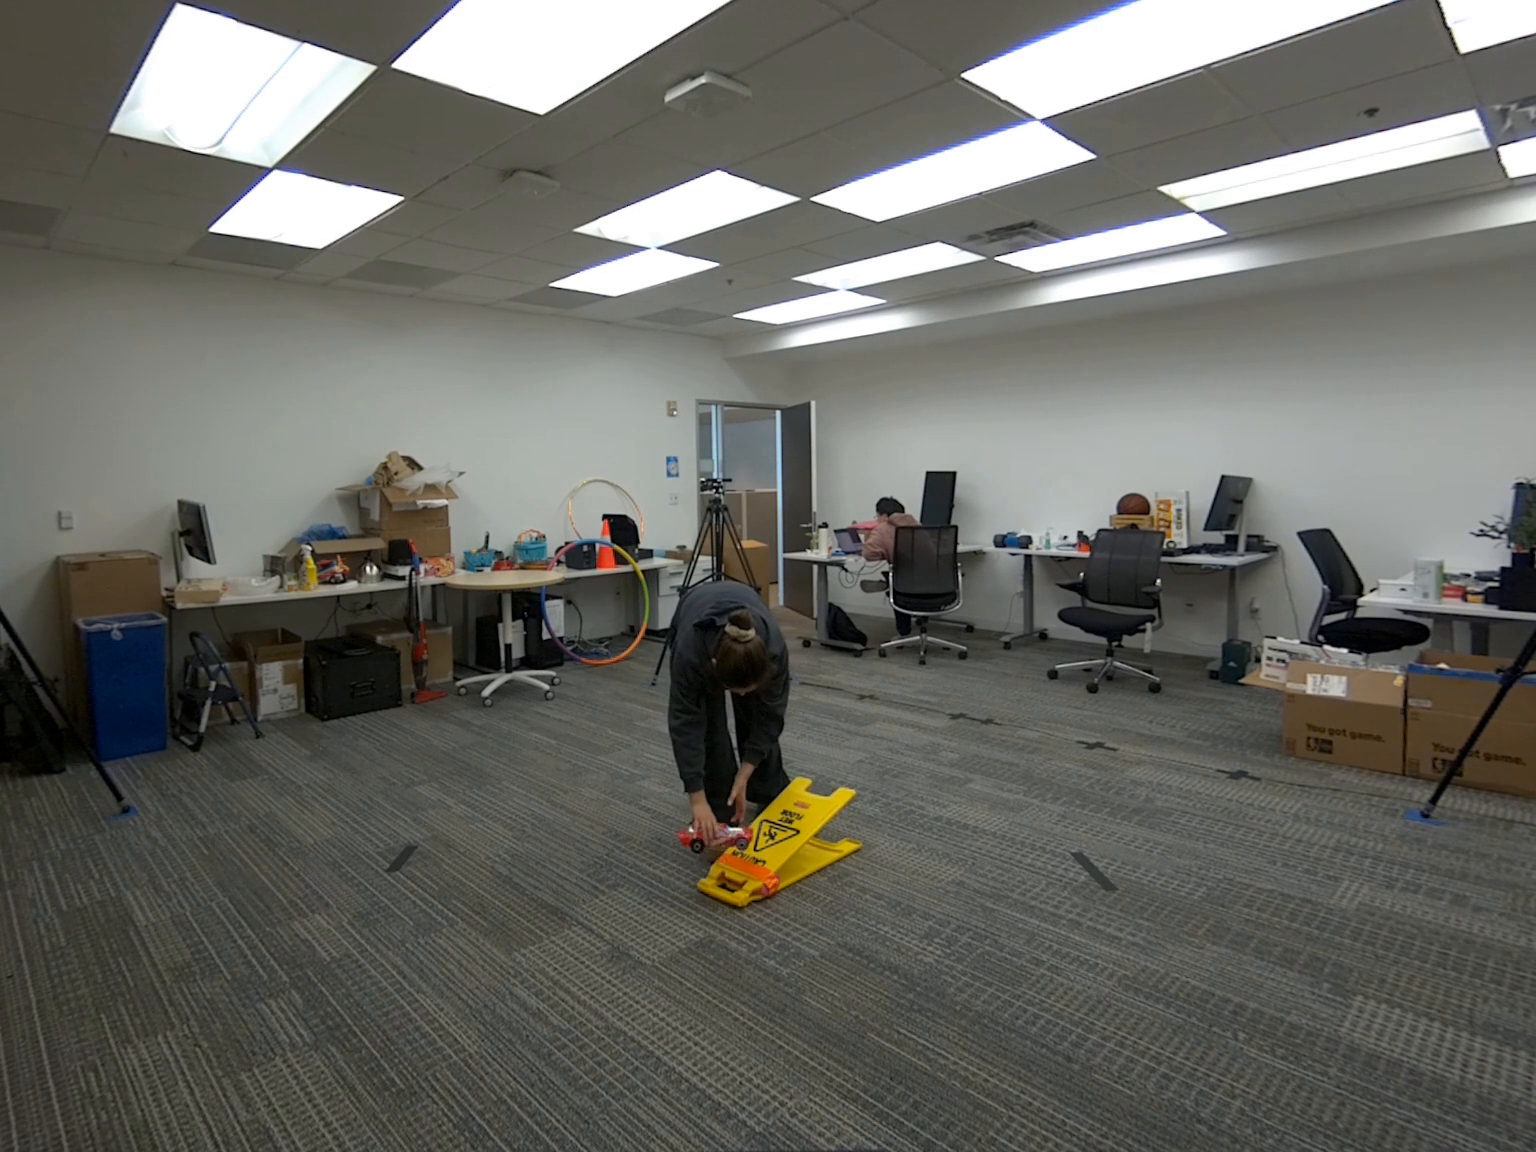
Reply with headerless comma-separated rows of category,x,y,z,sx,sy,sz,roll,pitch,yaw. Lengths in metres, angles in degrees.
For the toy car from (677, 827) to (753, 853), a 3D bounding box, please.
toy car,-0.181,0.875,2.813,0.256,0.083,0.129,7,-1,5
